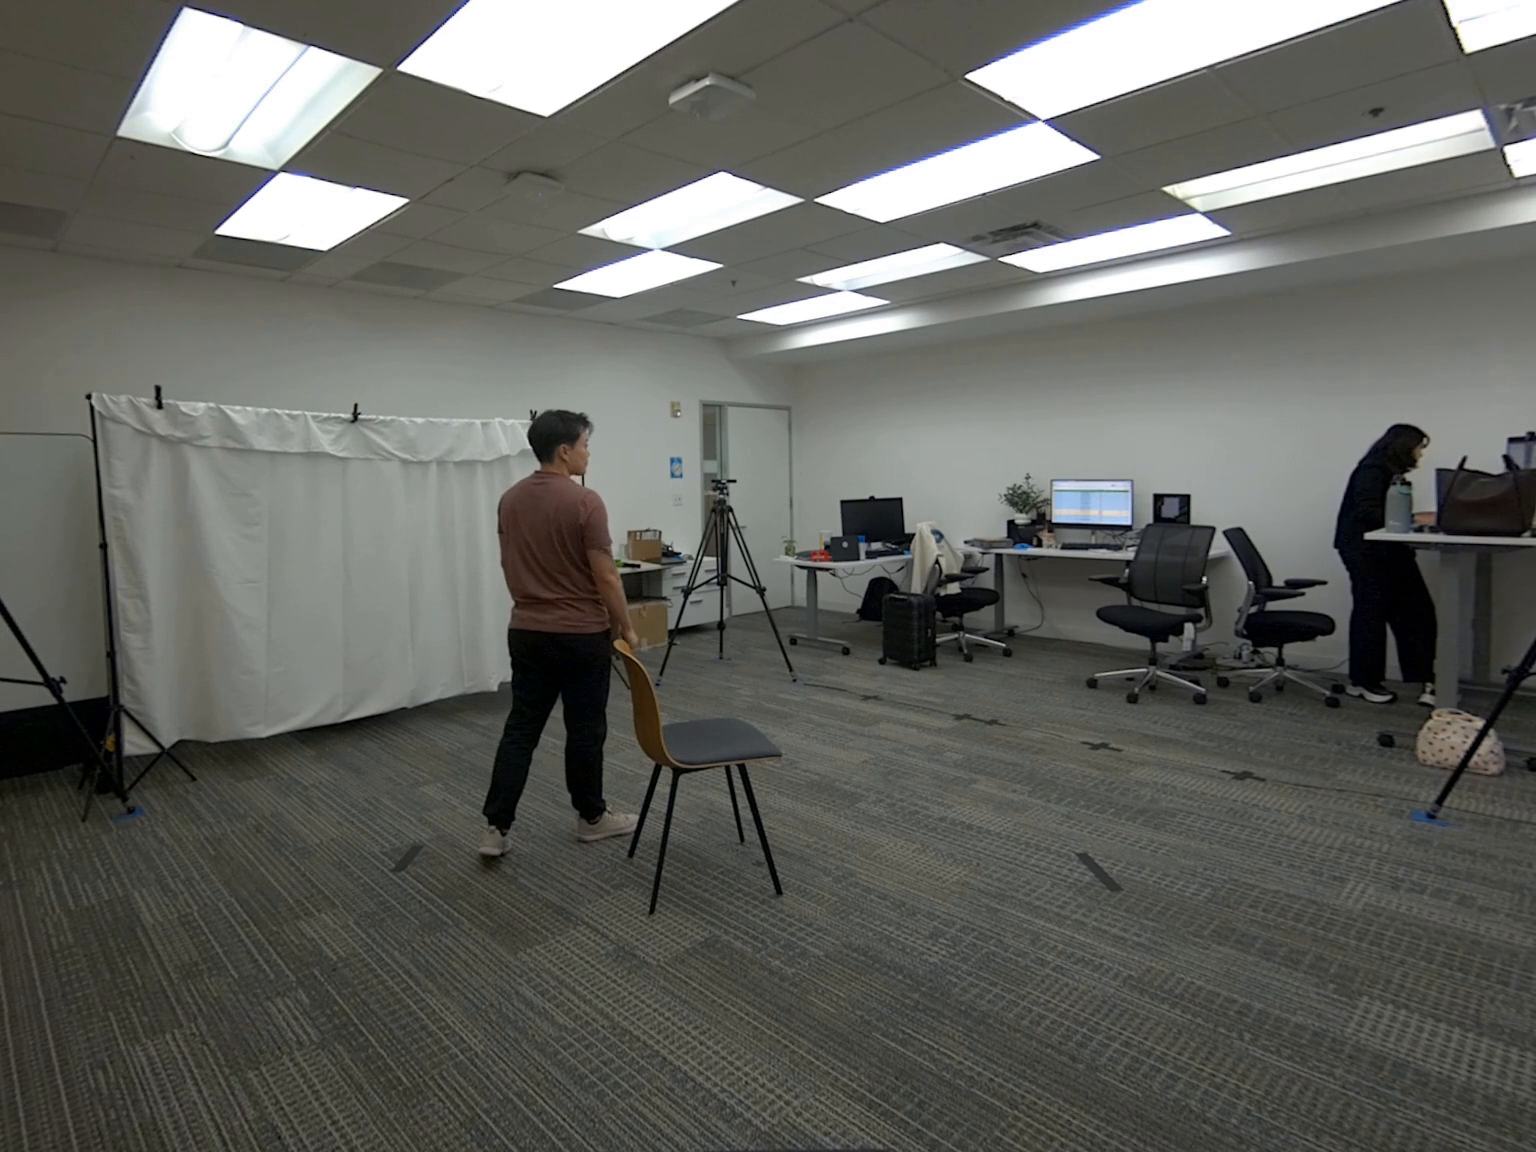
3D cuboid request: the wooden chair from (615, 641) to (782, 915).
[{"bbox_3d":[-0.236,0.639,2.994,0.516,0.873,0.487,-6,5,-16],"label":"wooden chair"}]
